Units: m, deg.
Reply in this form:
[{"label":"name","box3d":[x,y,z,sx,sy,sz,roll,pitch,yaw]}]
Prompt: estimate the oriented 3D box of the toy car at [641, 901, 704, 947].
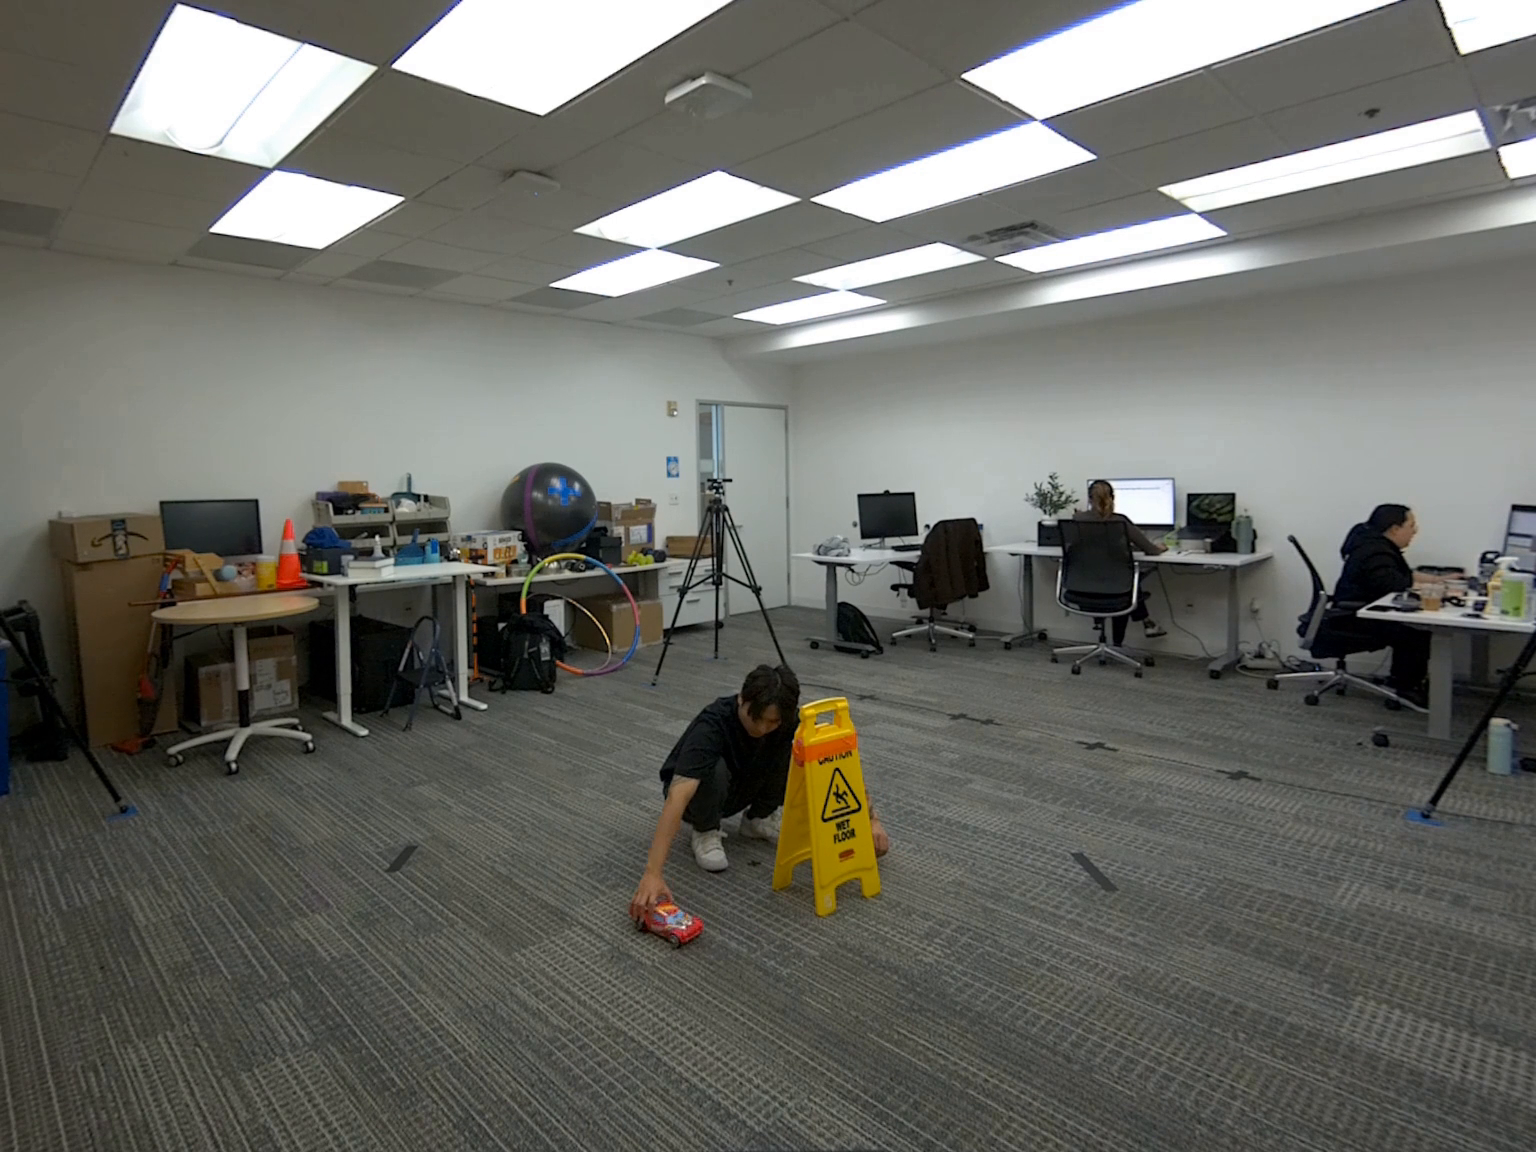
[{"label":"toy car","box3d":[-0.316,1.076,2.659,0.263,0.082,0.127,16,16,38]}]
